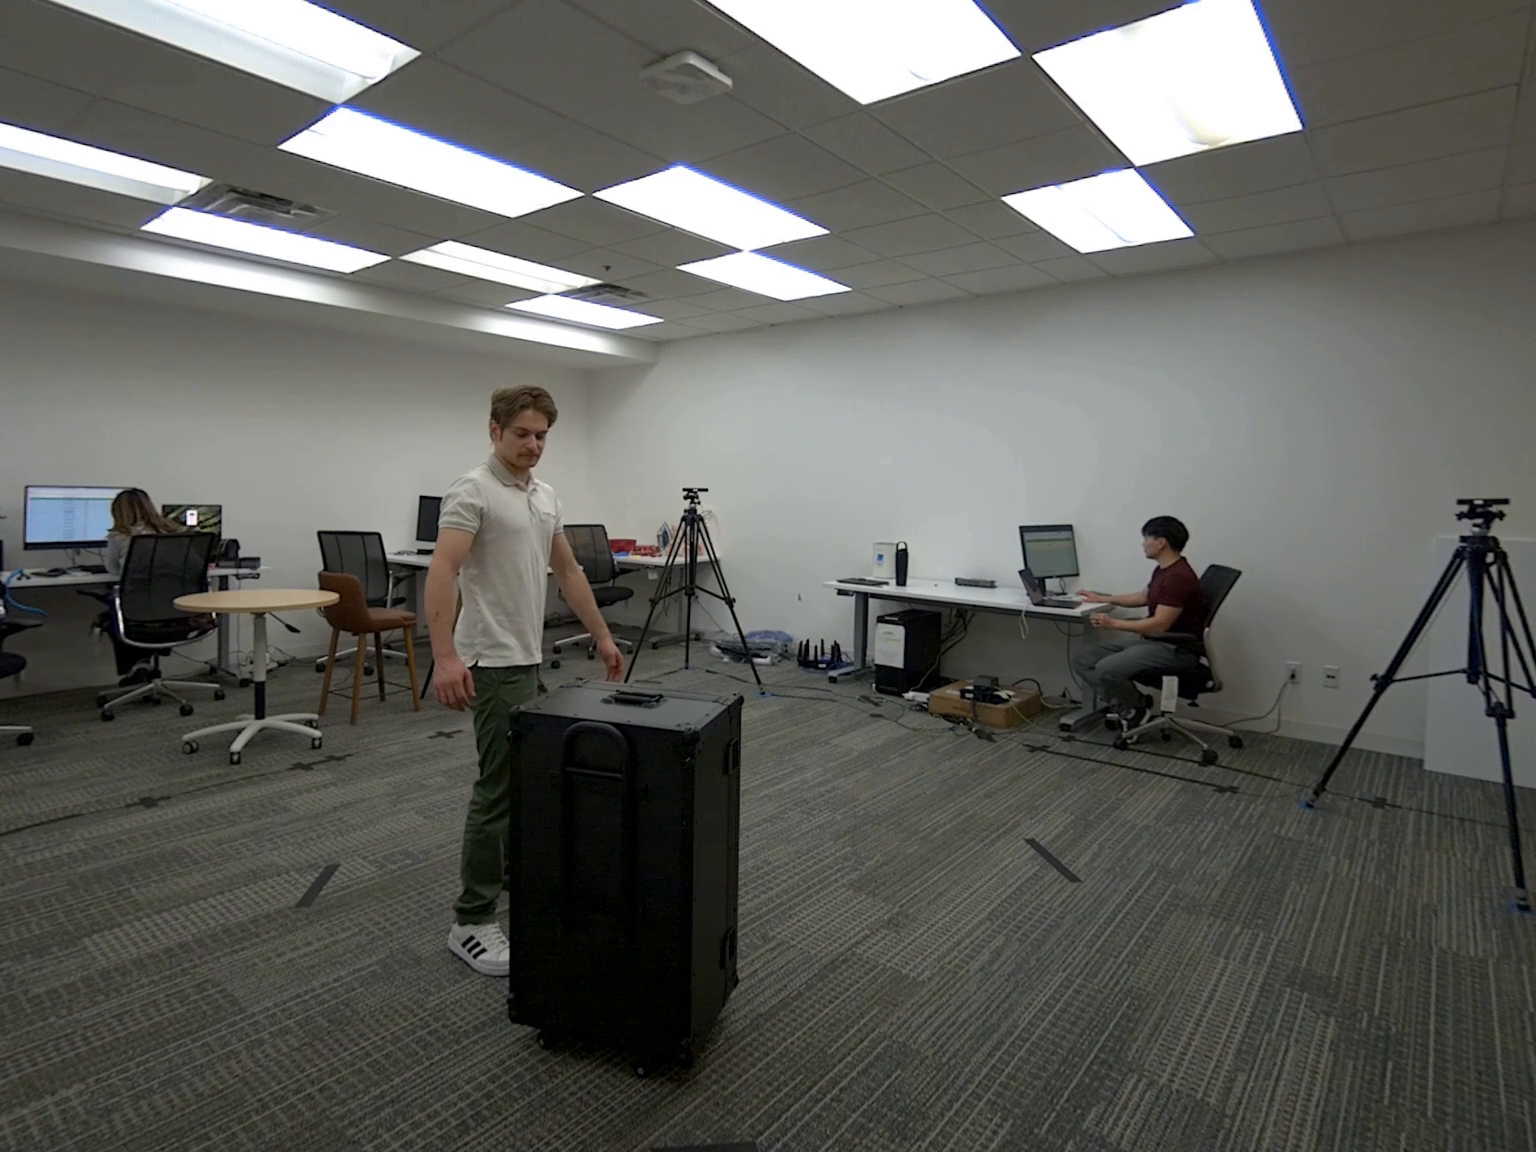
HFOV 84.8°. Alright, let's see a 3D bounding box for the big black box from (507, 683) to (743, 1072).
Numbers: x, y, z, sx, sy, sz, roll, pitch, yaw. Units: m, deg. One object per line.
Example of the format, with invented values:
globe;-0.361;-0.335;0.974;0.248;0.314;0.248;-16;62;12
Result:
big black box;-0.359;0.738;2.148;0.533;0.866;0.379;2;3;17
